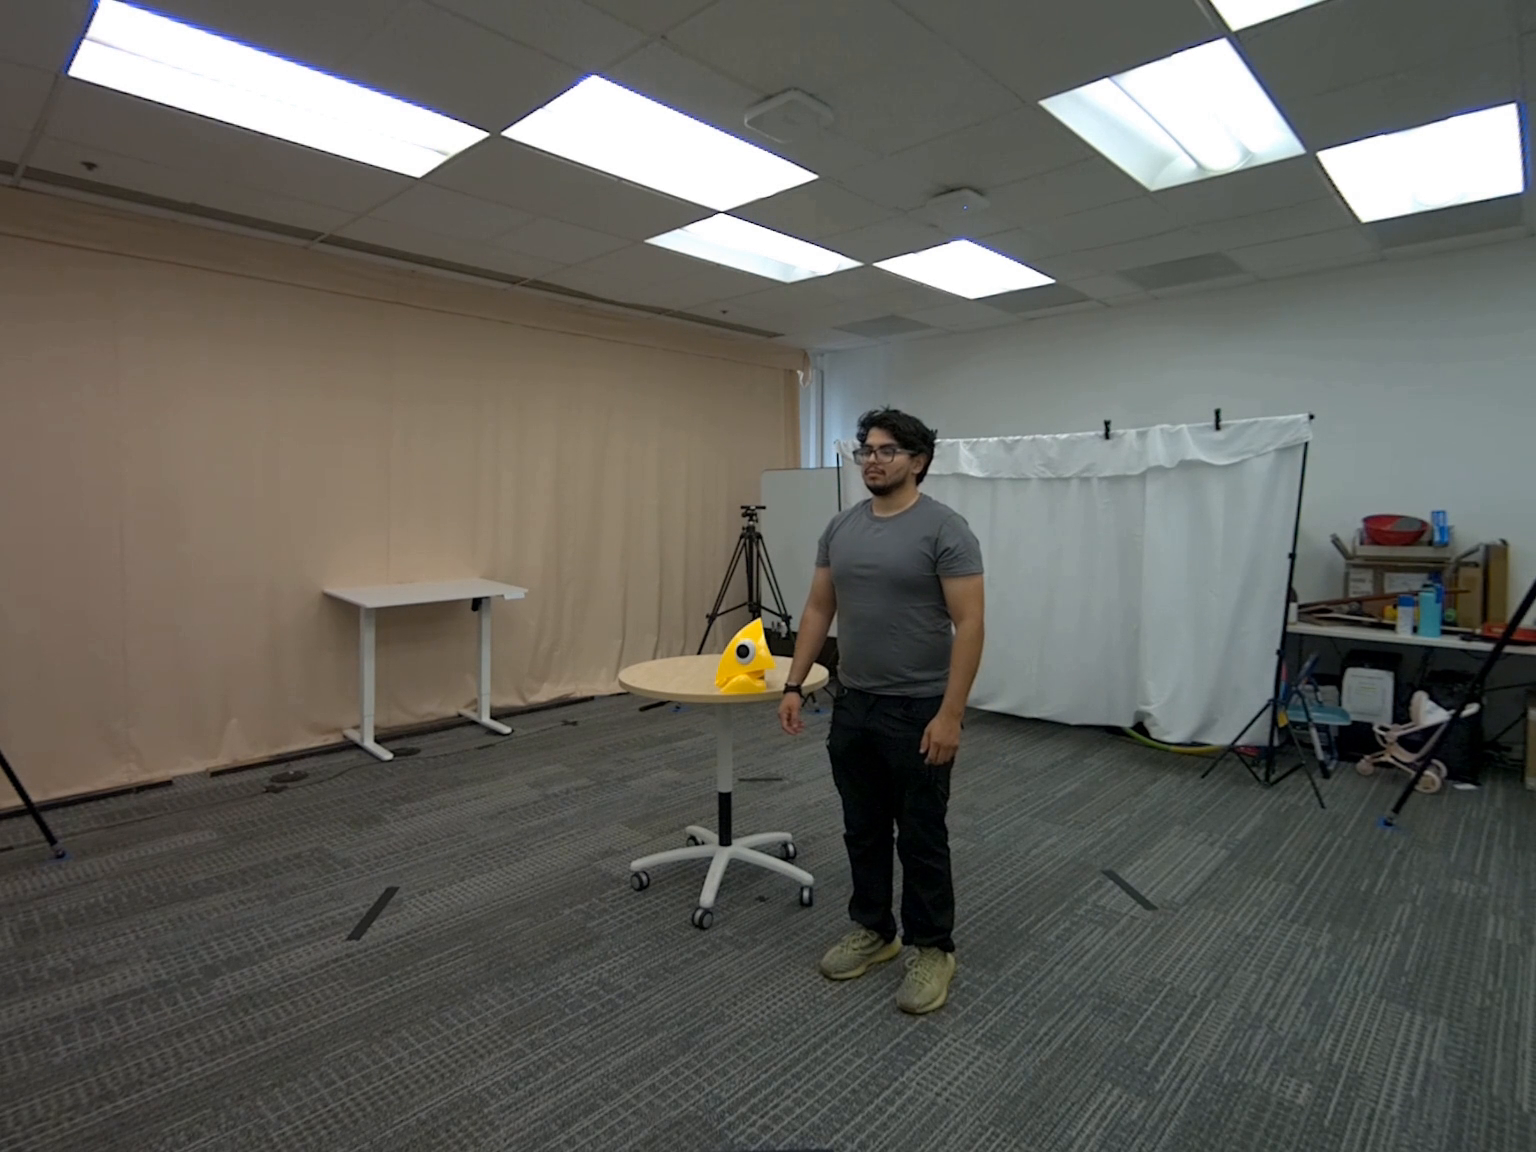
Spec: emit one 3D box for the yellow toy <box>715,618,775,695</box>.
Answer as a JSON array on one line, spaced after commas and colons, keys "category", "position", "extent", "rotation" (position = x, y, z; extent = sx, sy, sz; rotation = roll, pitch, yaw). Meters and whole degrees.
[{"category": "yellow toy", "position": [-0.083, 0.259, 2.809], "extent": [0.191, 0.230, 0.207], "rotation": [-1, 3, -11]}]
